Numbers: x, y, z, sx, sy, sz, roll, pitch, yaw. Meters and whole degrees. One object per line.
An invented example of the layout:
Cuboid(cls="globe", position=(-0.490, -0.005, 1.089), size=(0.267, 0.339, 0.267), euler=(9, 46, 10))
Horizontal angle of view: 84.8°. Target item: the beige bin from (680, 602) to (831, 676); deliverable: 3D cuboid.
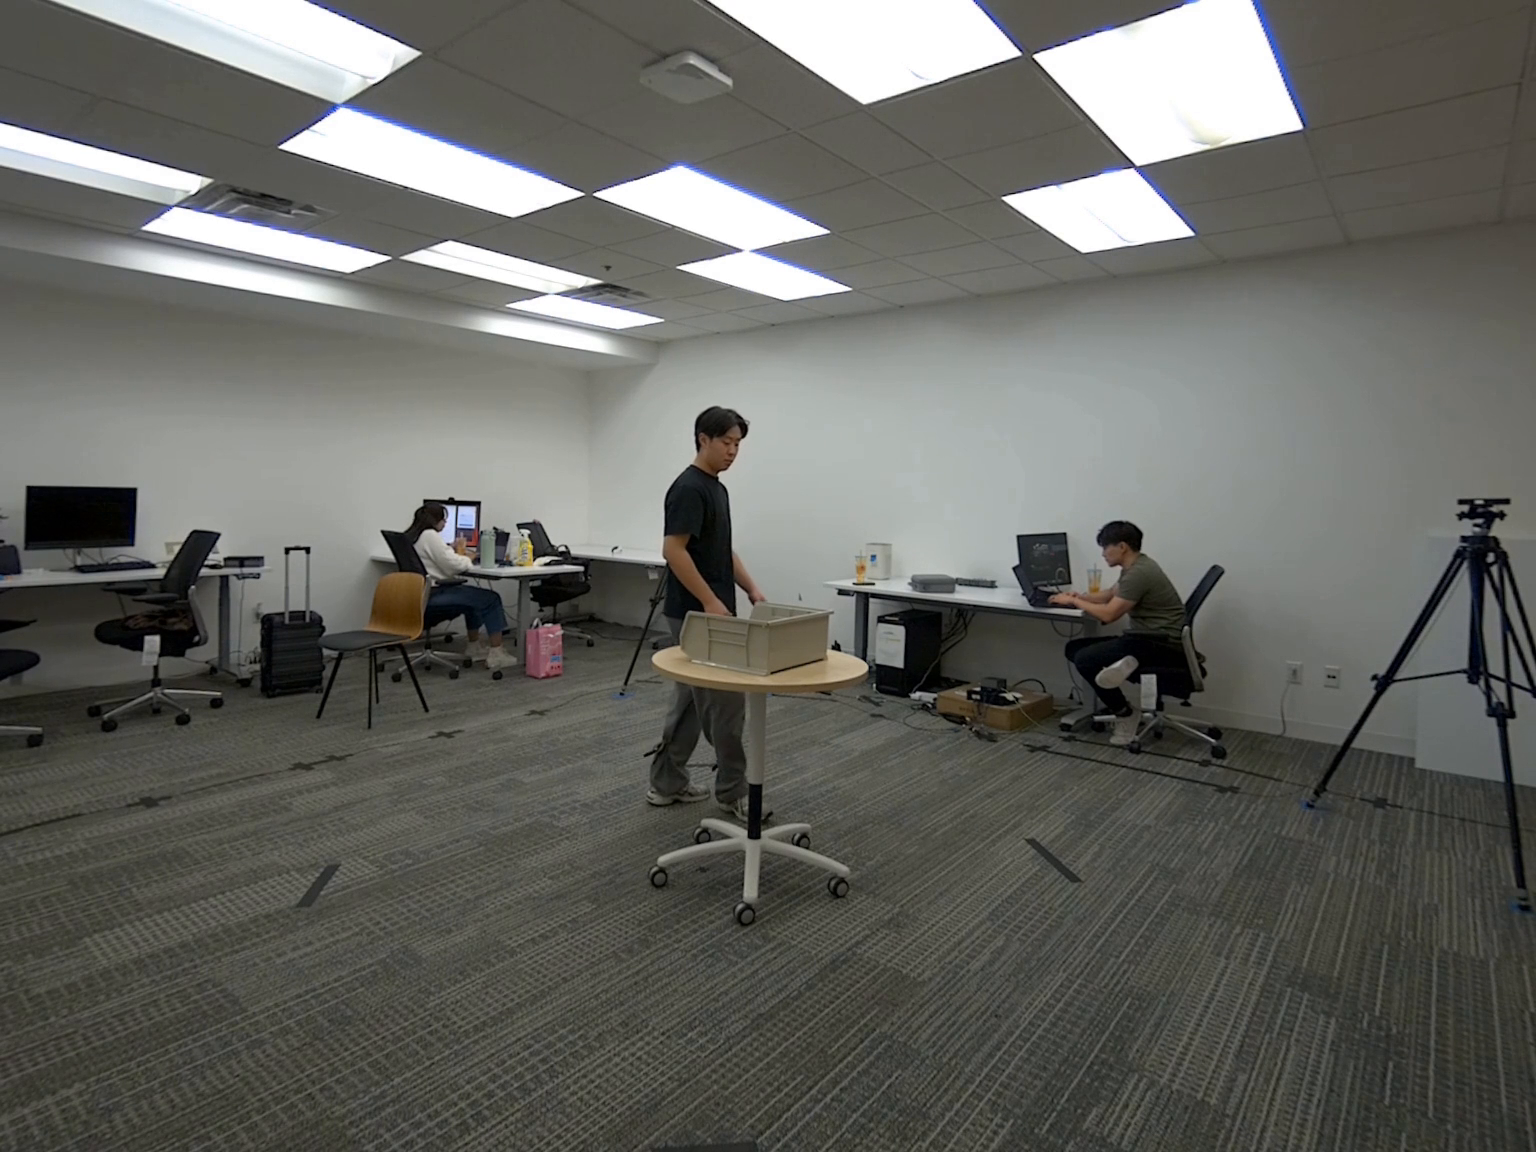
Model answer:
Cuboid(cls="beige bin", position=(-0.052, 0.208, 3.028), size=(0.390, 0.188, 0.410), euler=(6, 6, 34))
